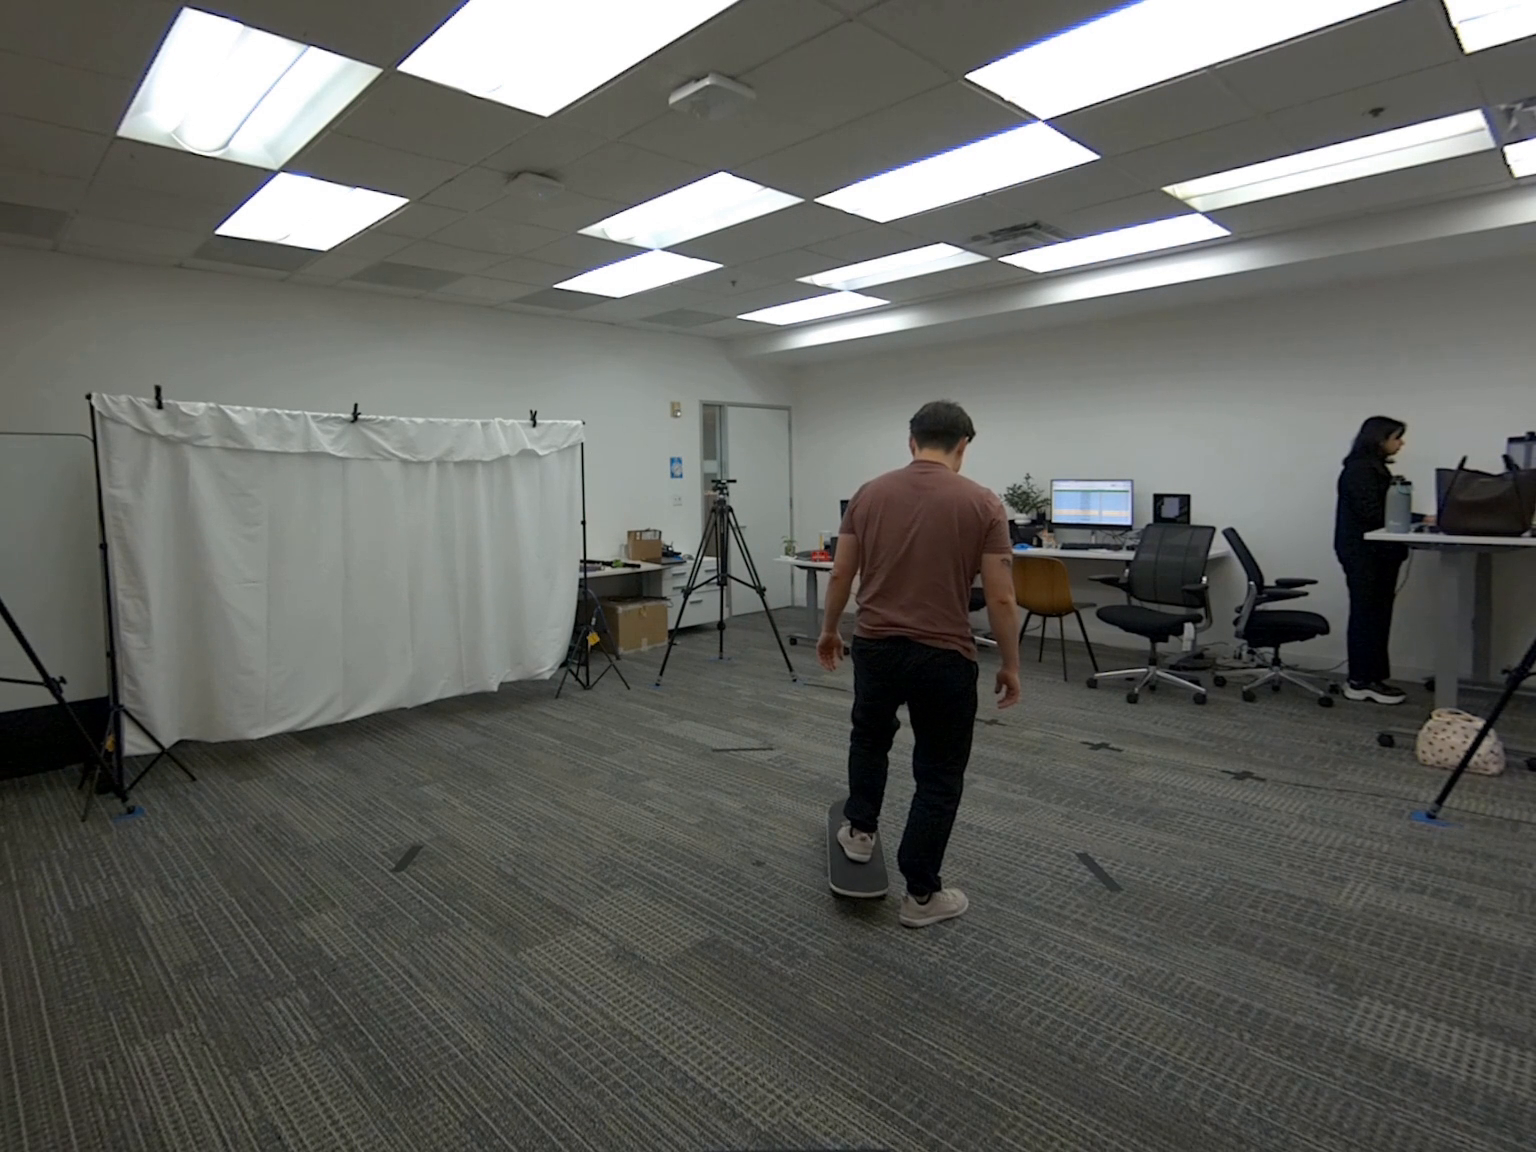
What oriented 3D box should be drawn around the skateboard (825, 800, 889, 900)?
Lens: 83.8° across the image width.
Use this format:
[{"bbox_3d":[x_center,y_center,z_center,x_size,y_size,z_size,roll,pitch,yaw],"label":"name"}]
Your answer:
[{"bbox_3d":[0.315,0.992,3.052,0.194,0.110,0.785,-1,7,4],"label":"skateboard"}]
